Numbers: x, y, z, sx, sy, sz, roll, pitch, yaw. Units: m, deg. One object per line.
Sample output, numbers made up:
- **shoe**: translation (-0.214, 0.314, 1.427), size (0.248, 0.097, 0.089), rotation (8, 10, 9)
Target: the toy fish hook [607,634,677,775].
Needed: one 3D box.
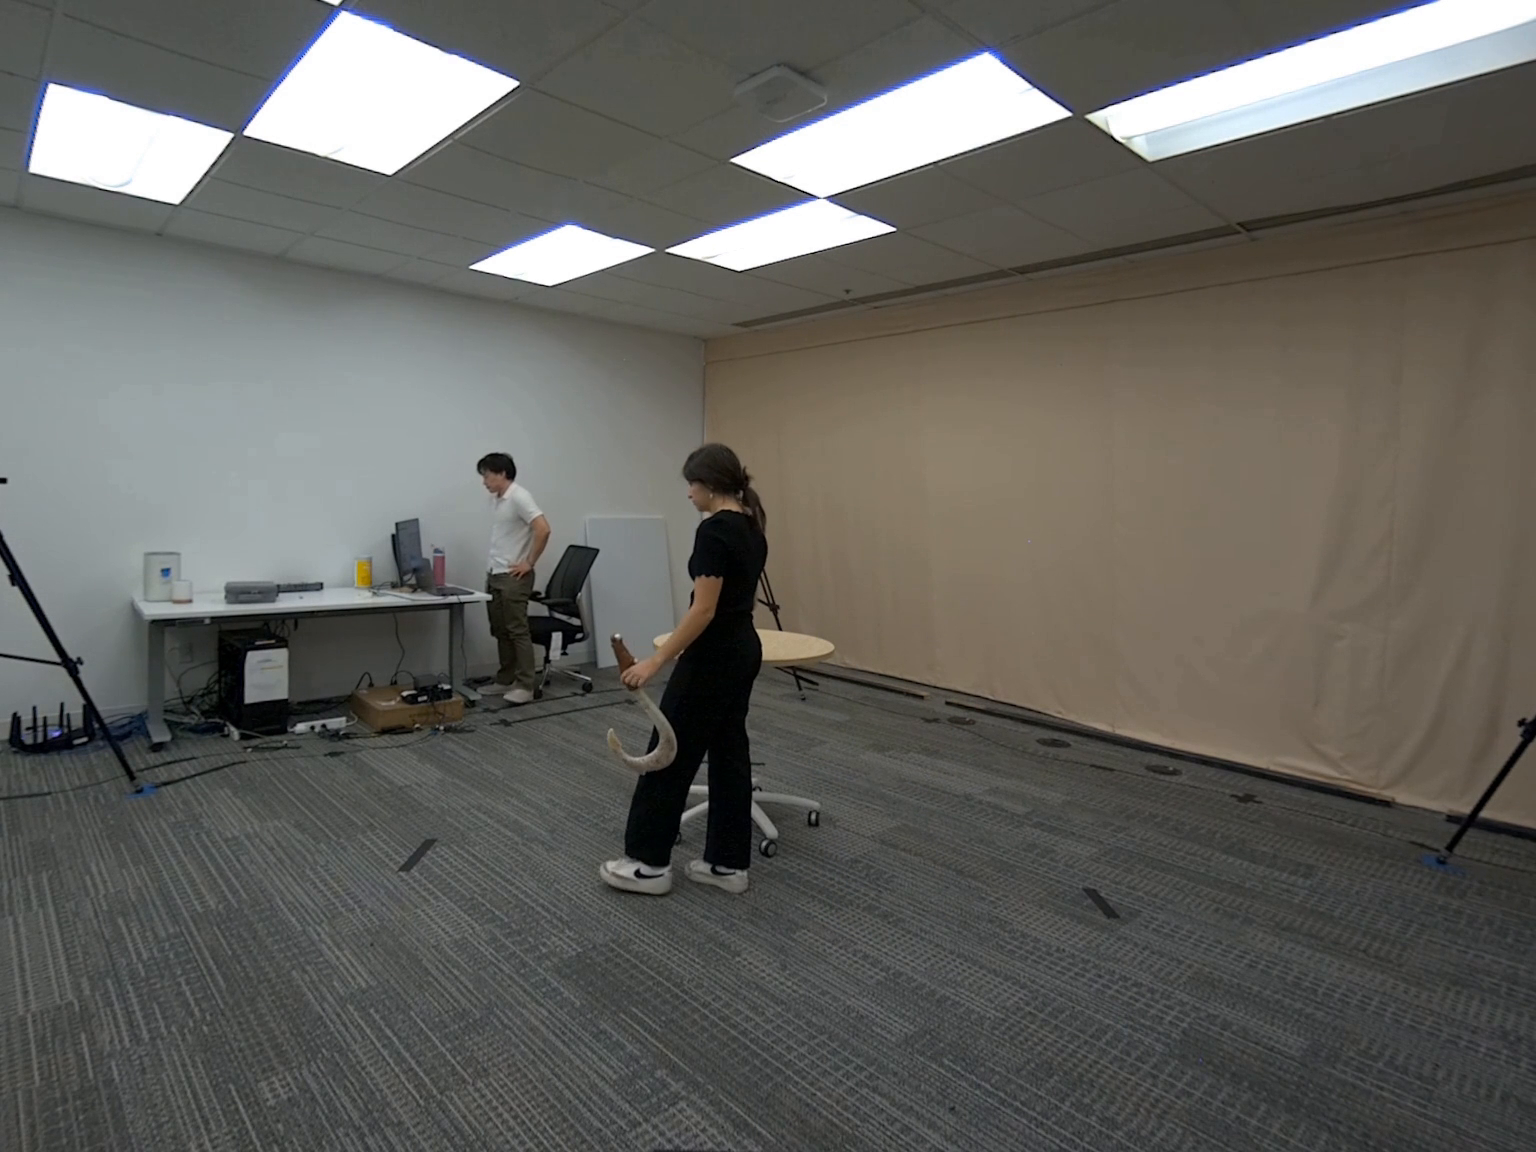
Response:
- **toy fish hook**: translation (-0.473, 0.442, 2.814), size (0.224, 0.500, 0.049), rotation (-17, 14, -1)
